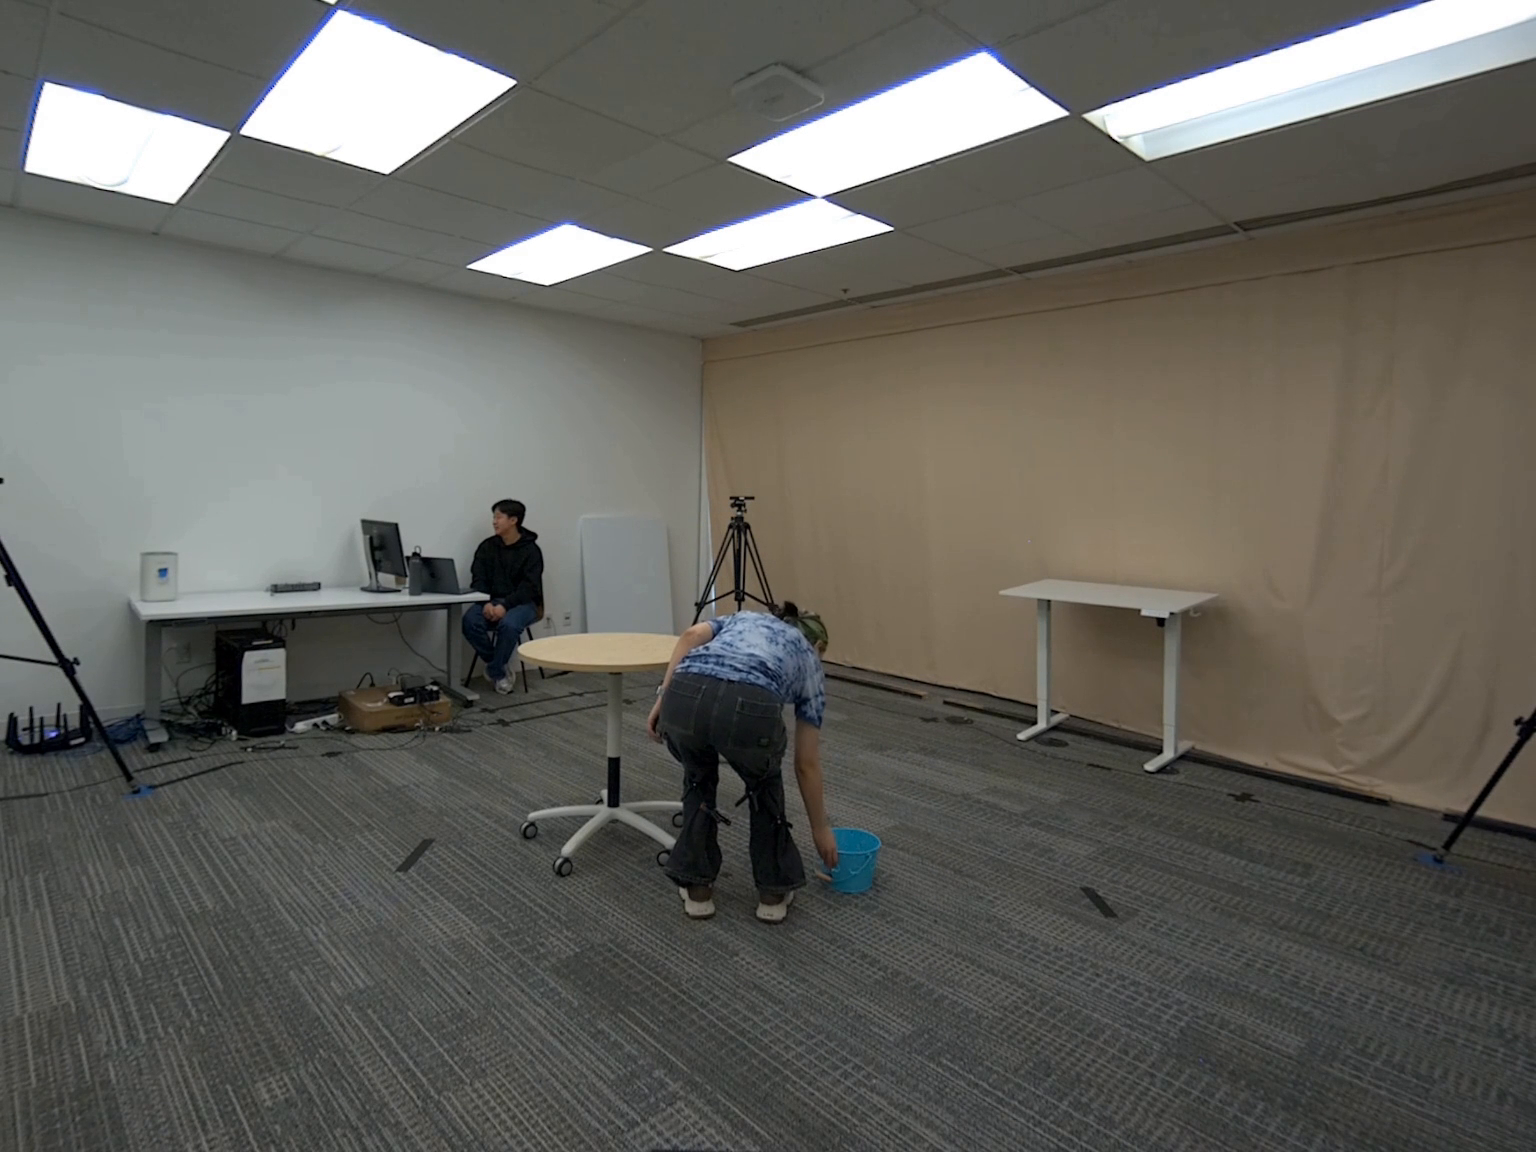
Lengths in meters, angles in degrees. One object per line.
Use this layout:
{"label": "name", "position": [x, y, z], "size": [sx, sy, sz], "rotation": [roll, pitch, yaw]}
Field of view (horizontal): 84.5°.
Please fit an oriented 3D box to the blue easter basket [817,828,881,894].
{"label": "blue easter basket", "position": [0.281, 1.037, 3.073], "size": [0.243, 0.155, 0.244], "rotation": [2, 5, -2]}
